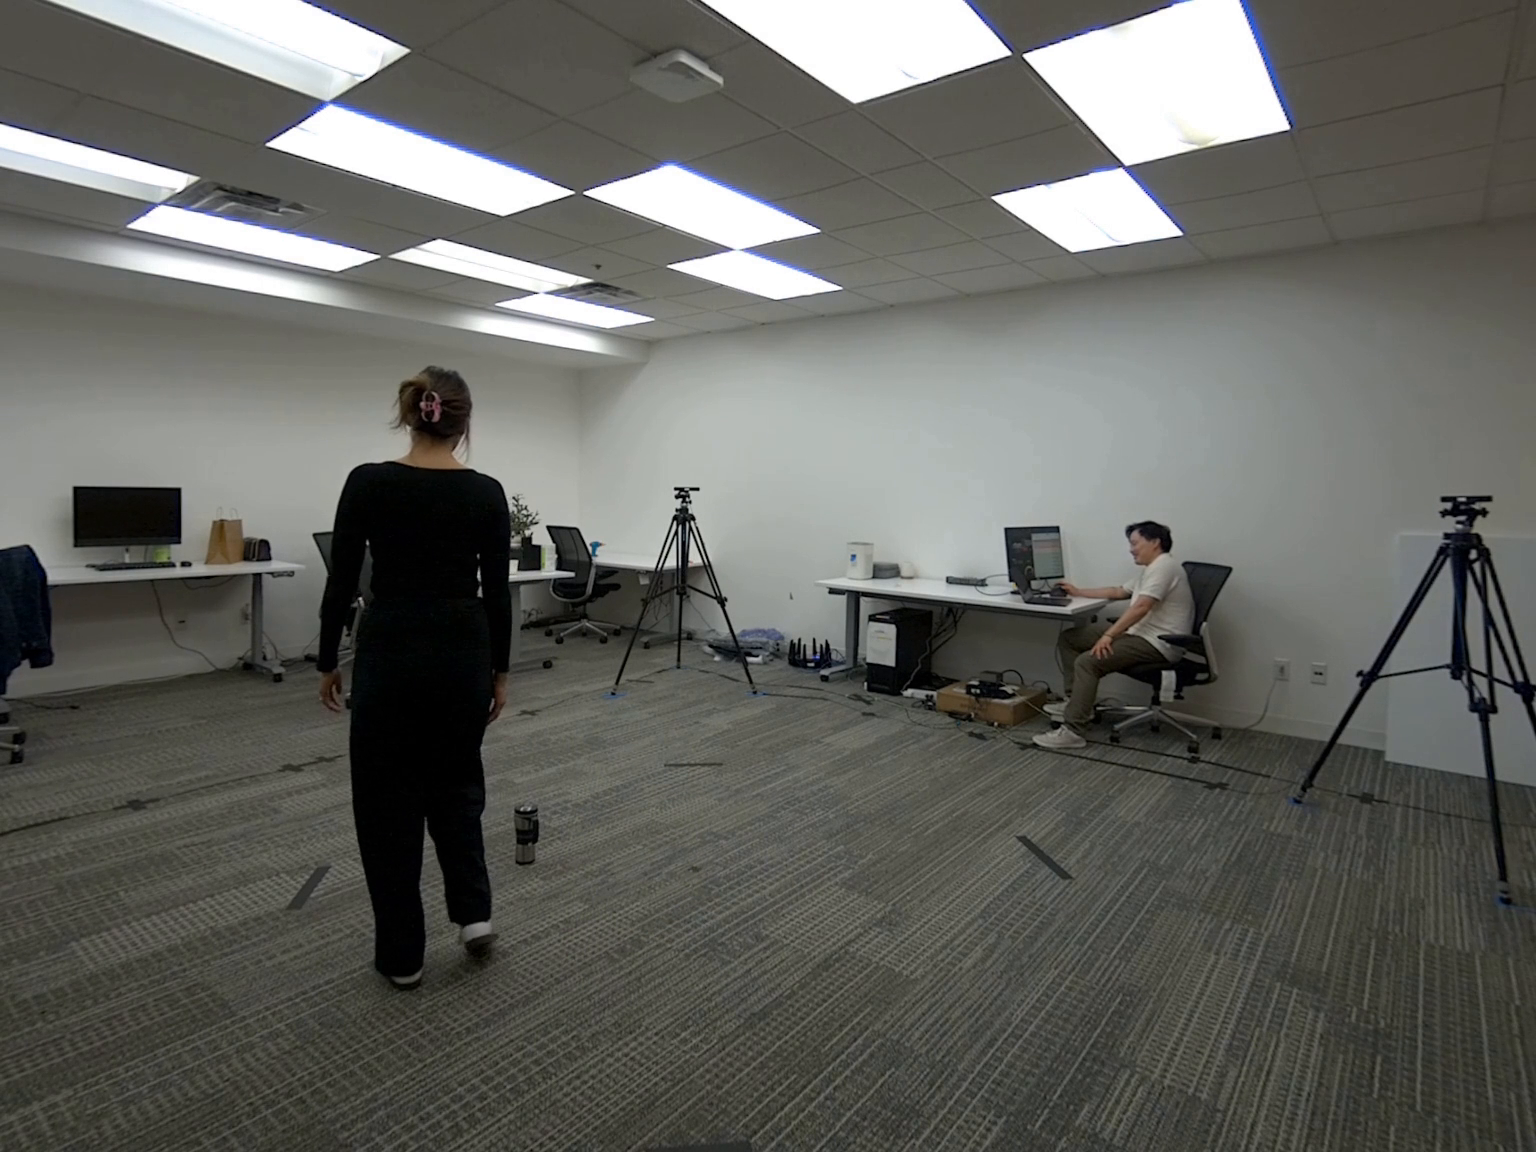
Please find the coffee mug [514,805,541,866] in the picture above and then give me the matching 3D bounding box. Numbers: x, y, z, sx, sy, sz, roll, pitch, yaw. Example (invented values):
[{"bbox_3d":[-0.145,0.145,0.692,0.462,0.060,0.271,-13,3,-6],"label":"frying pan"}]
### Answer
[{"bbox_3d":[-0.905,0.957,3.115,0.086,0.203,0.124,1,1,-19],"label":"coffee mug"}]
